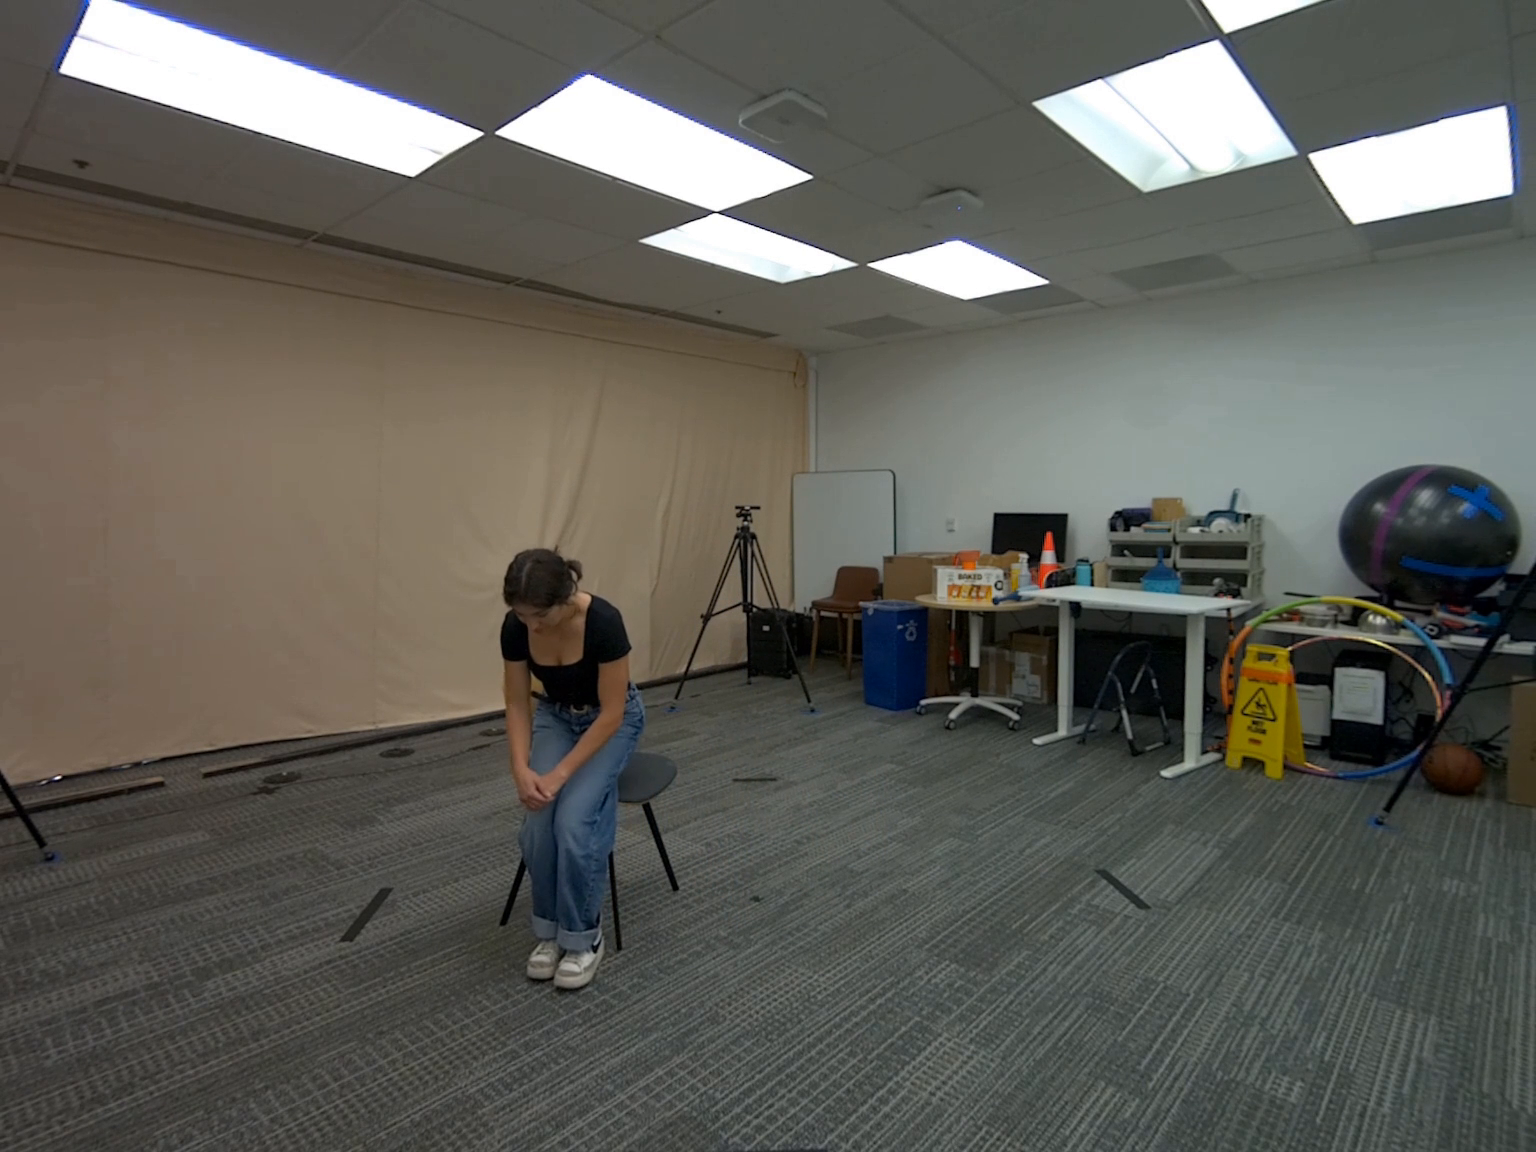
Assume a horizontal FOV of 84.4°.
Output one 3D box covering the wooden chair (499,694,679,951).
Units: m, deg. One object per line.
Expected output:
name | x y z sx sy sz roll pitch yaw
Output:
wooden chair | -0.602 0.730 2.903 0.534 0.876 0.469 -4 2 20
